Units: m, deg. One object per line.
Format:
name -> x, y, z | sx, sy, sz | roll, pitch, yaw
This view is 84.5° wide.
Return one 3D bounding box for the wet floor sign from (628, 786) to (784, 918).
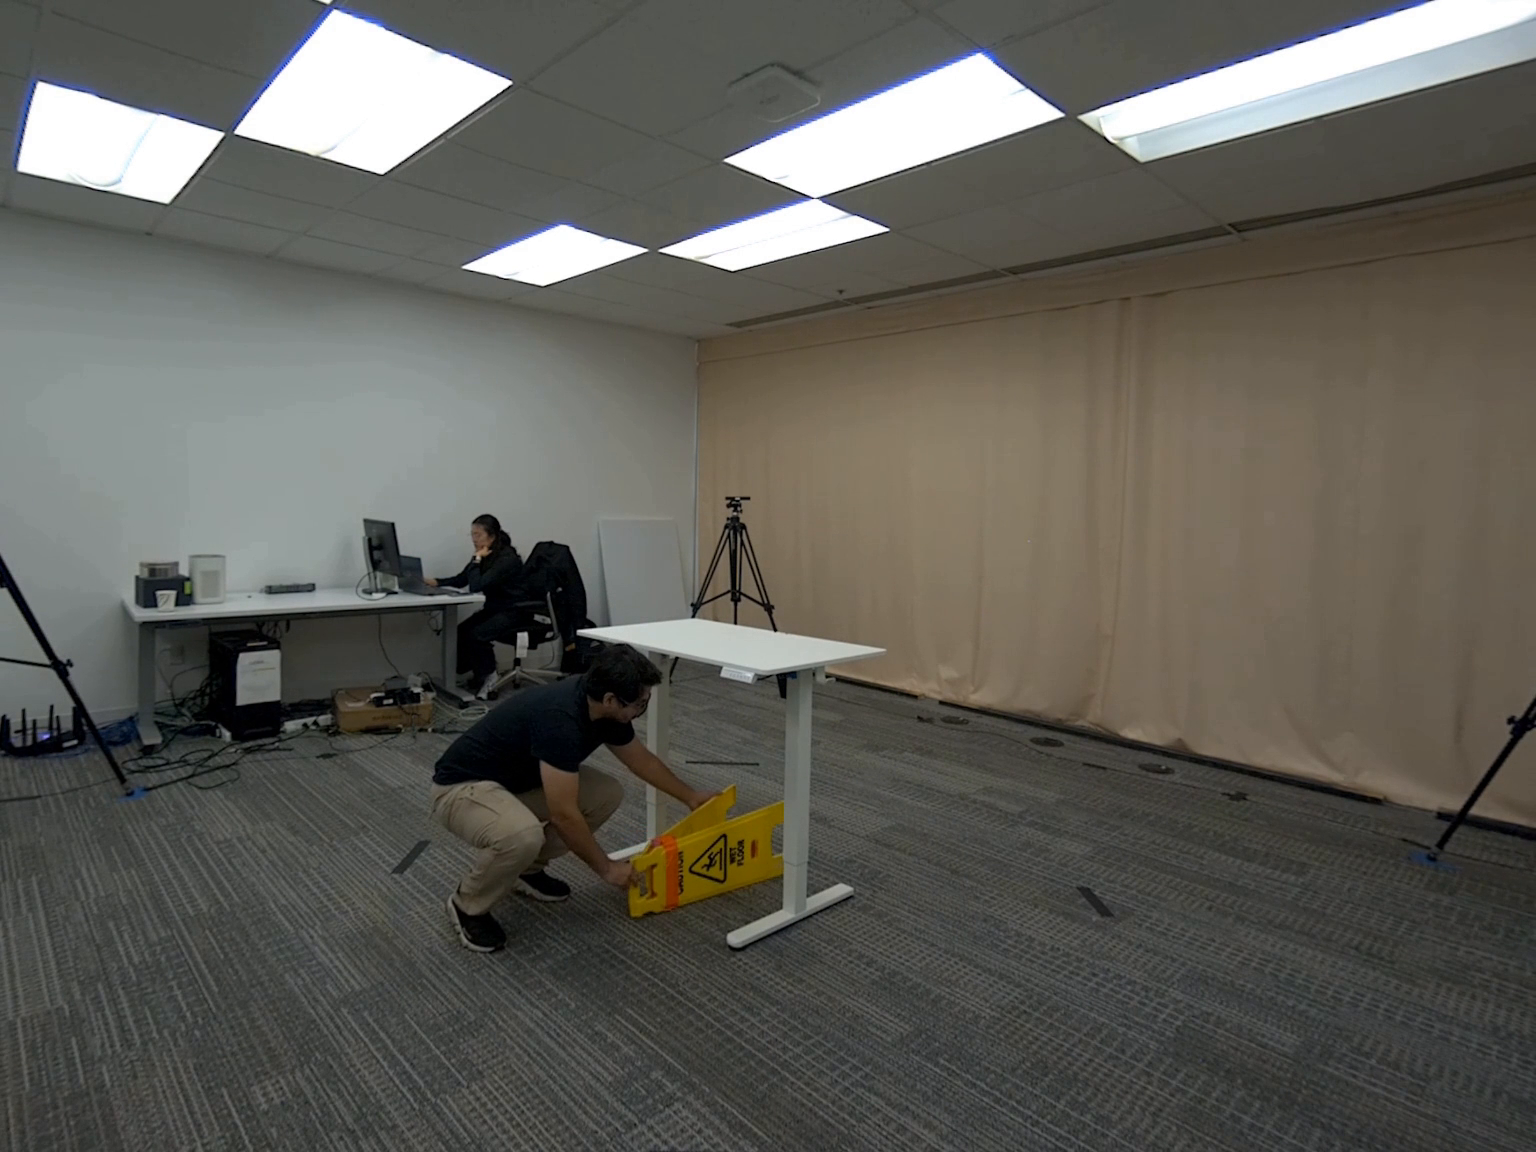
wet floor sign -> -0.243, 0.987, 2.975 | 0.297, 0.281, 0.633 | 4, 8, 40
